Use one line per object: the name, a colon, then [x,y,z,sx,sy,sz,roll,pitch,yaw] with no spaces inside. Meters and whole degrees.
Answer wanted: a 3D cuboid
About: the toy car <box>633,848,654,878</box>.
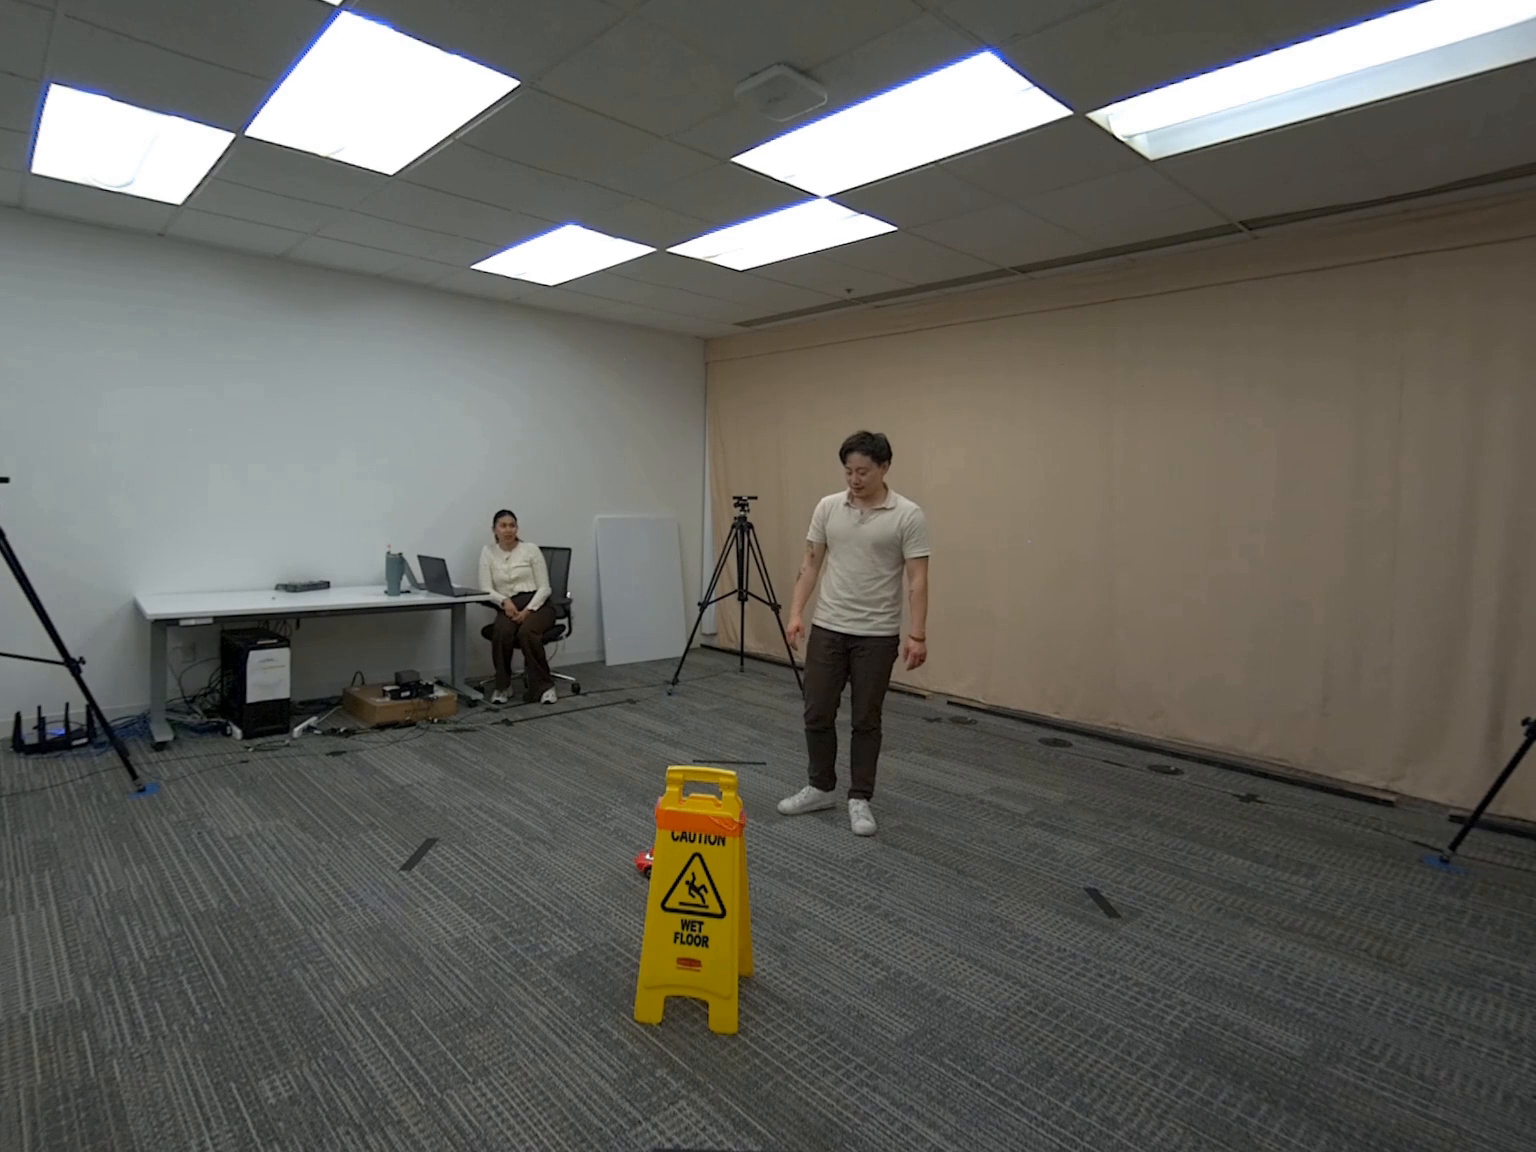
toy car: [-0.379,1.068,3.096,0.258,0.083,0.129,14,8,12]
